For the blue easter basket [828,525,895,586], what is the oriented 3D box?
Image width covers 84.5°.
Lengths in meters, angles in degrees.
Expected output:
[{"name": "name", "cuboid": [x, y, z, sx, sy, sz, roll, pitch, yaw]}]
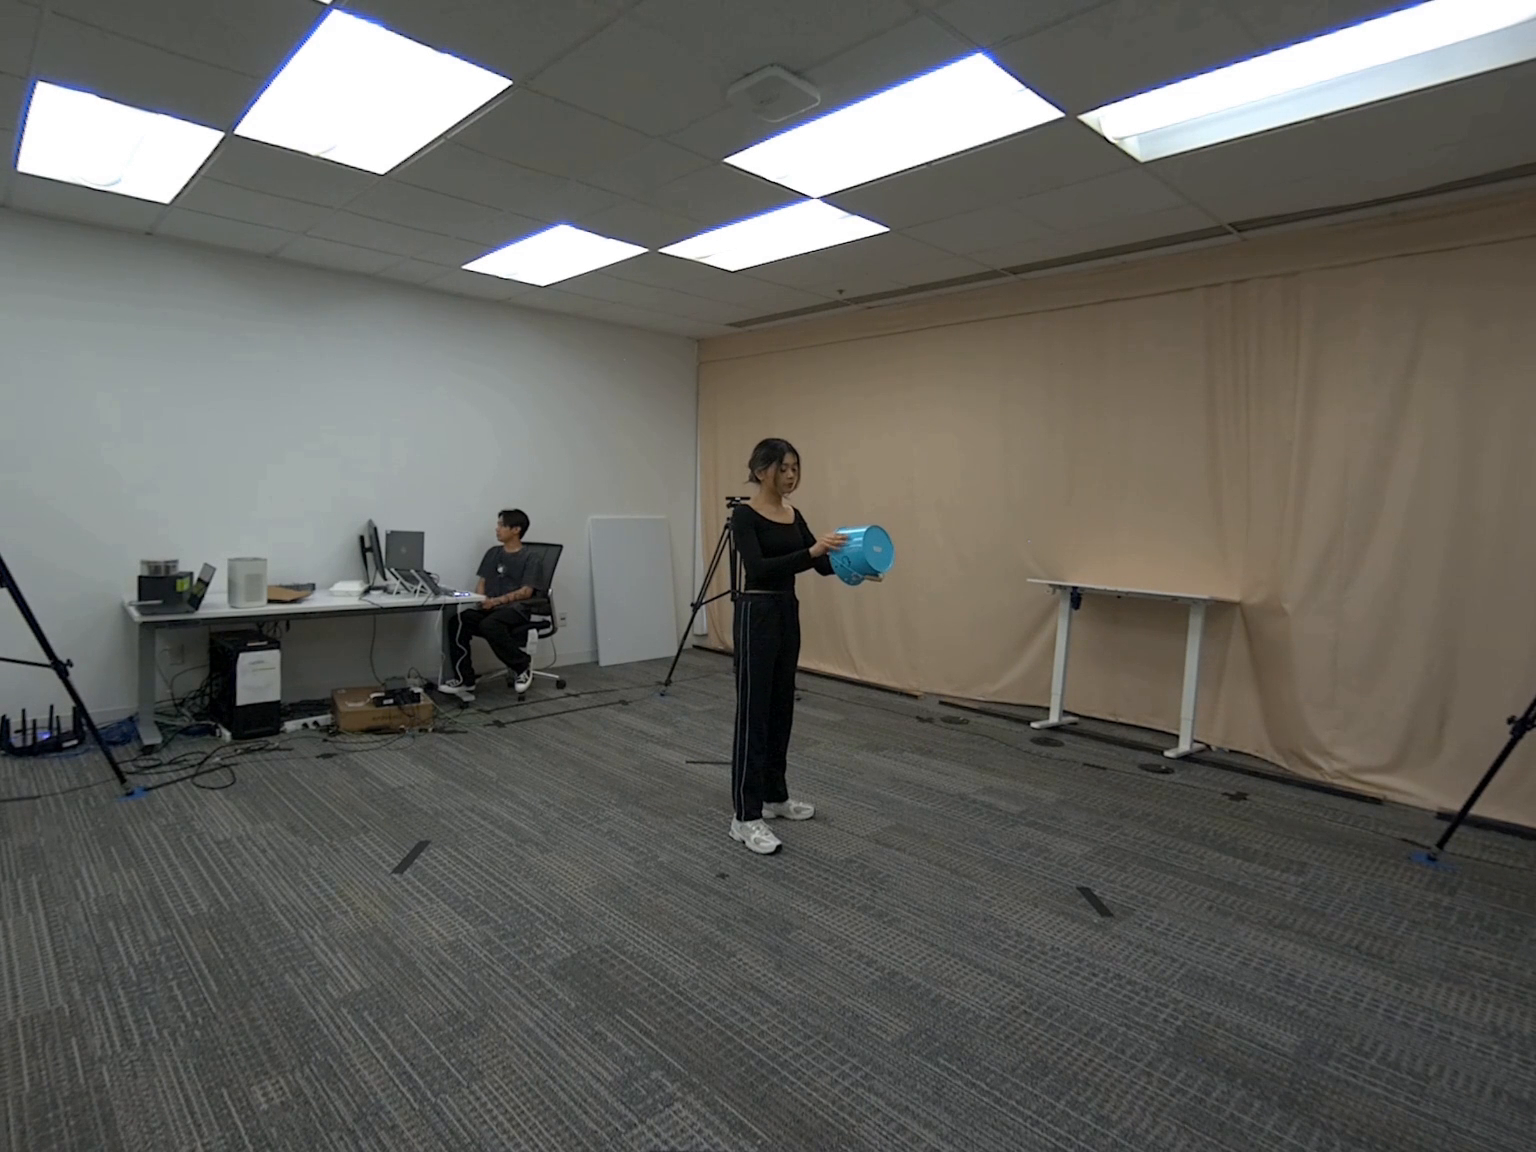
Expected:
[{"name": "blue easter basket", "cuboid": [0.361, -0.091, 3.250, 0.238, 0.244, 0.159, -3, -4, -44]}]
